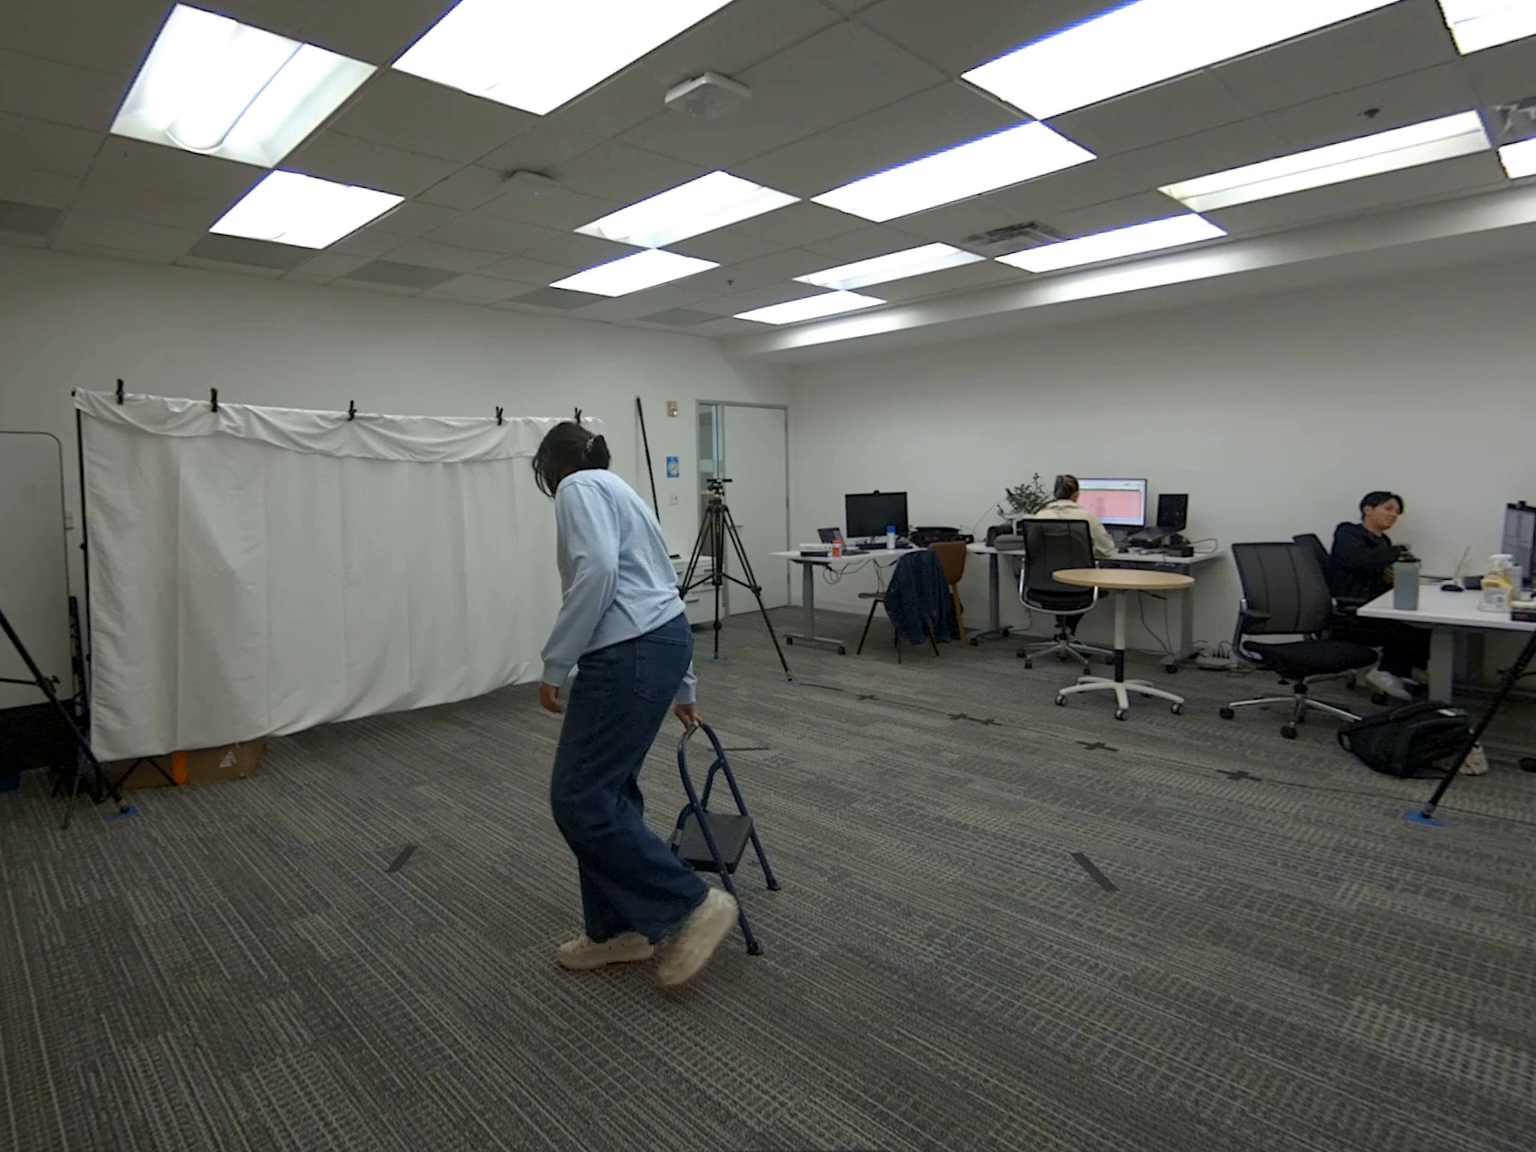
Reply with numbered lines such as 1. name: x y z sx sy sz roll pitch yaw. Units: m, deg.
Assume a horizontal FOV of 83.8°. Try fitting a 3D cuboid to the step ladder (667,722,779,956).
1. step ladder: -0.166 0.789 2.732 0.353 0.604 0.428 0 5 10
